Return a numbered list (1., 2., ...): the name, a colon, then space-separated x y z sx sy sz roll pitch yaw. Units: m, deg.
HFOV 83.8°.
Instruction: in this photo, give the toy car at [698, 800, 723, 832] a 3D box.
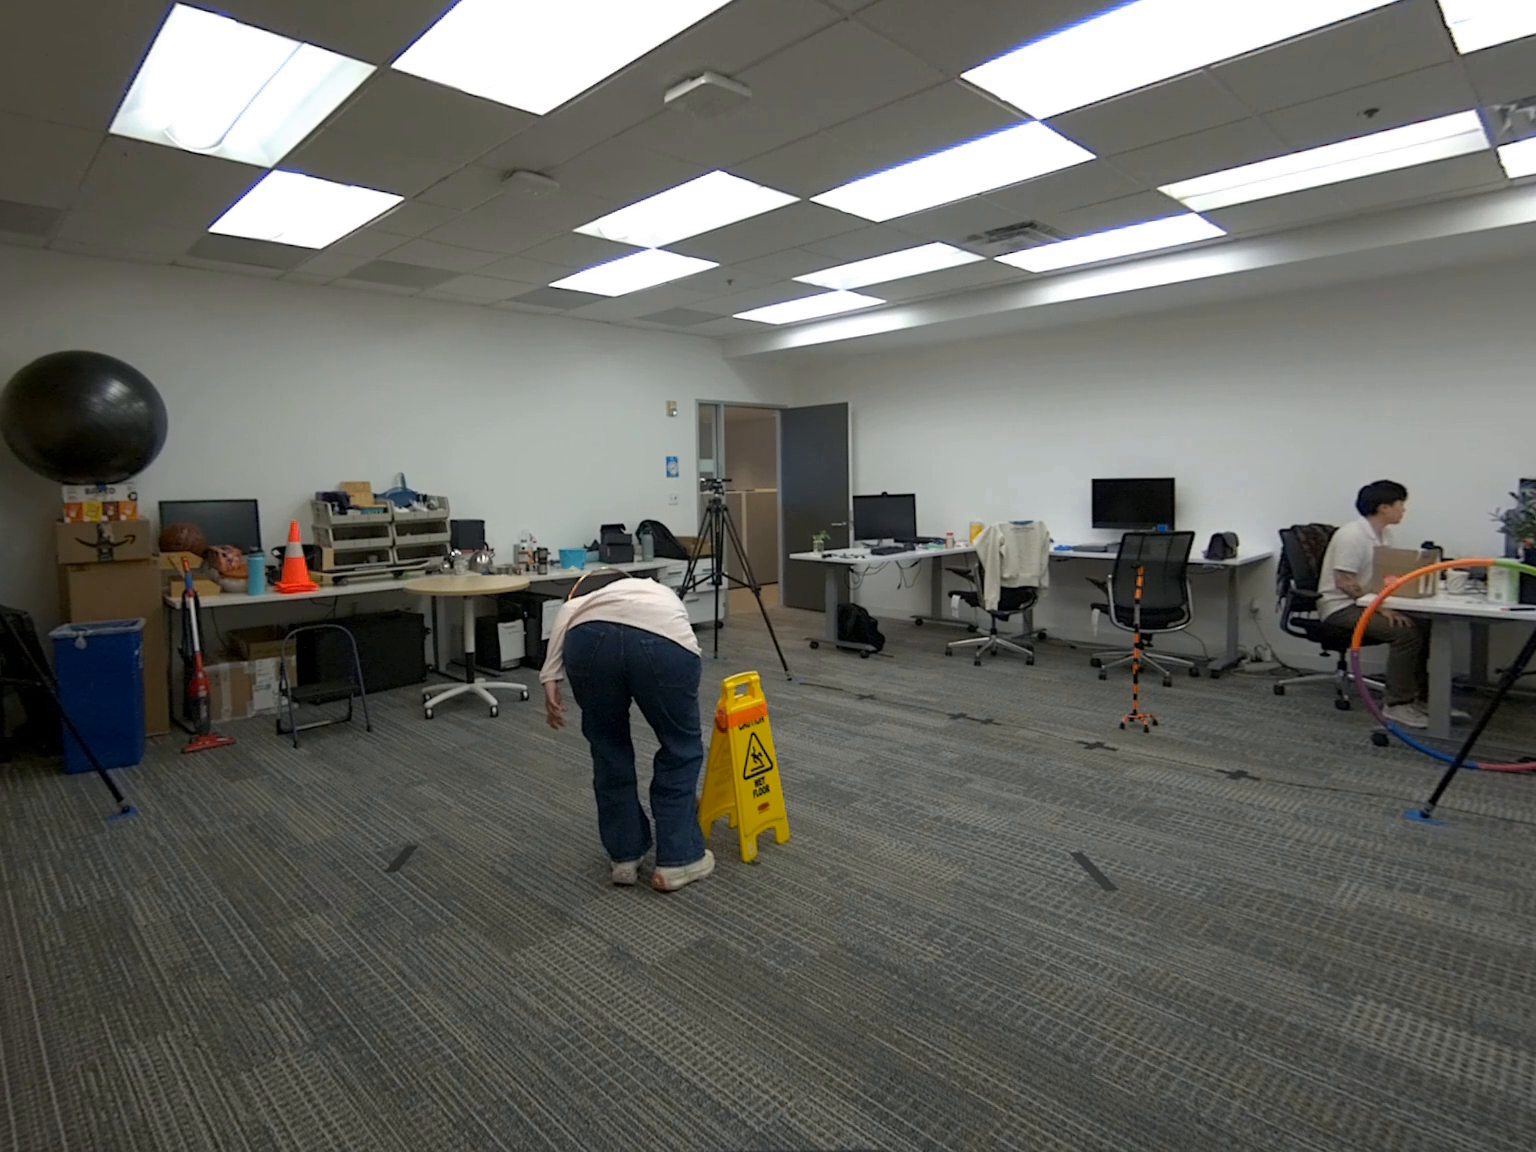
1. toy car: -0.319 0.967 3.457 0.134 0.083 0.246 7 -7 35
